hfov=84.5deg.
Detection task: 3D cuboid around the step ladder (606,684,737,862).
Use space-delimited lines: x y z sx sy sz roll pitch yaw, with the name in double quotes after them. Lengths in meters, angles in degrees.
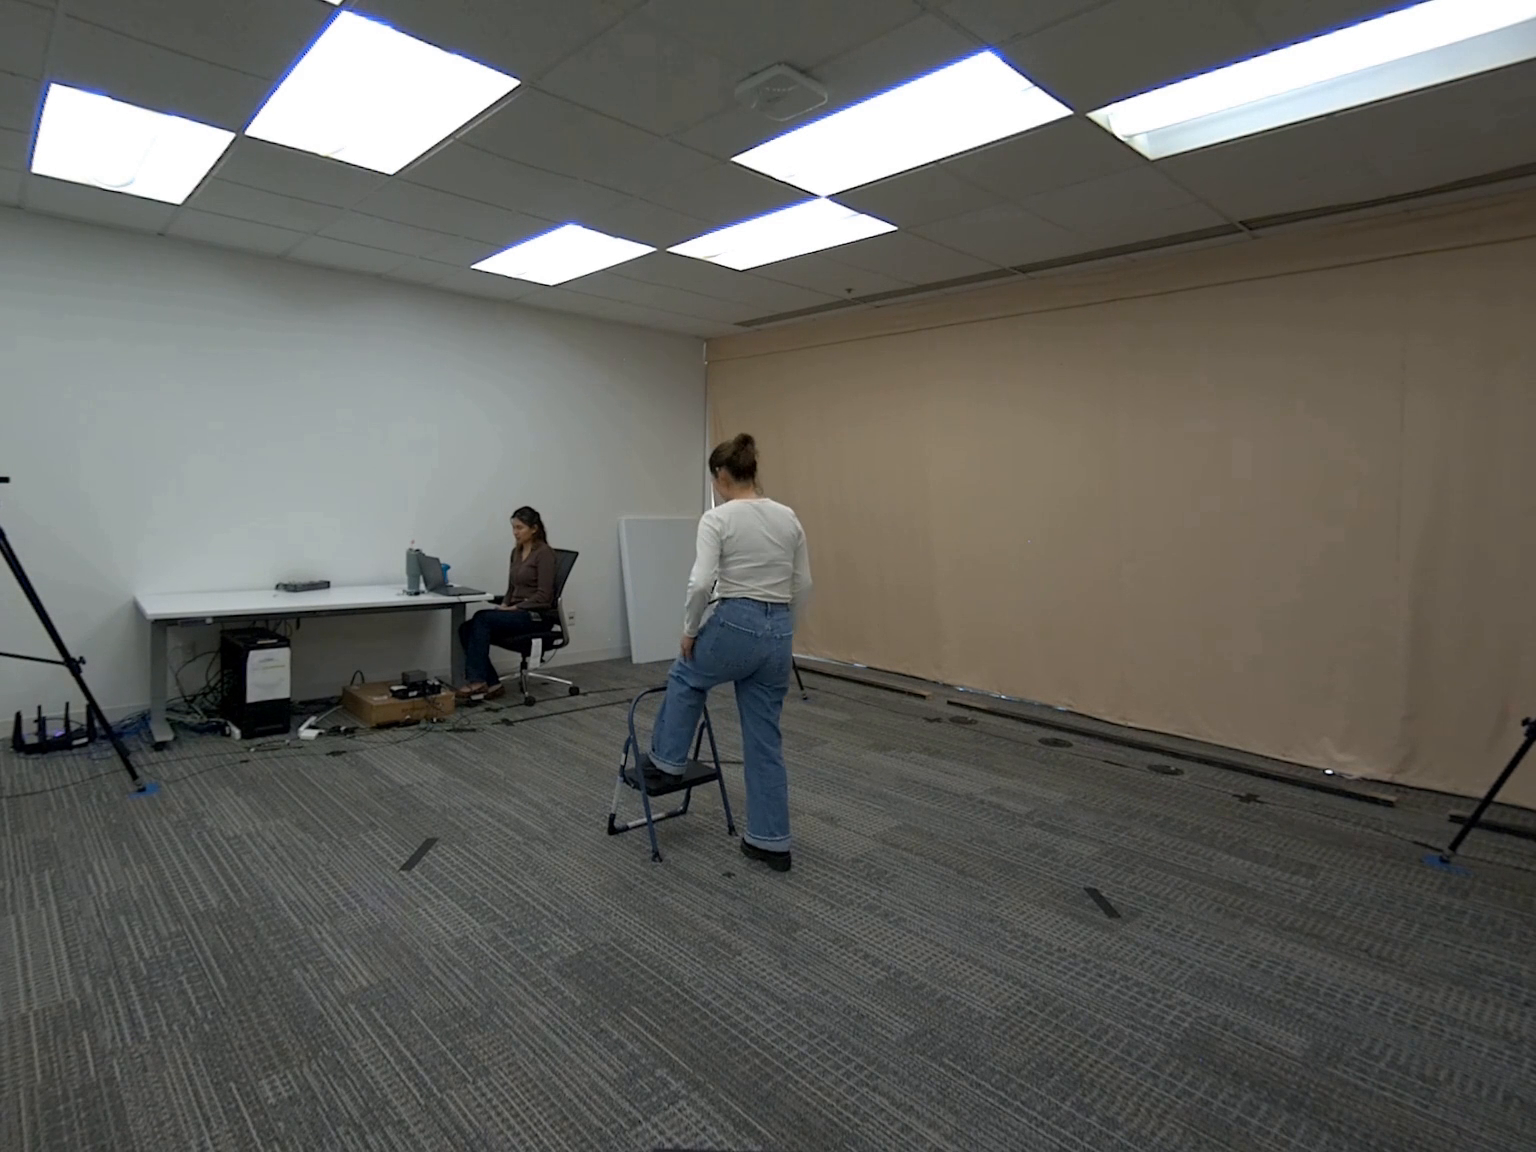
-0.392 0.763 3.451 0.421 0.604 0.358 -2 5 -44 "step ladder"
